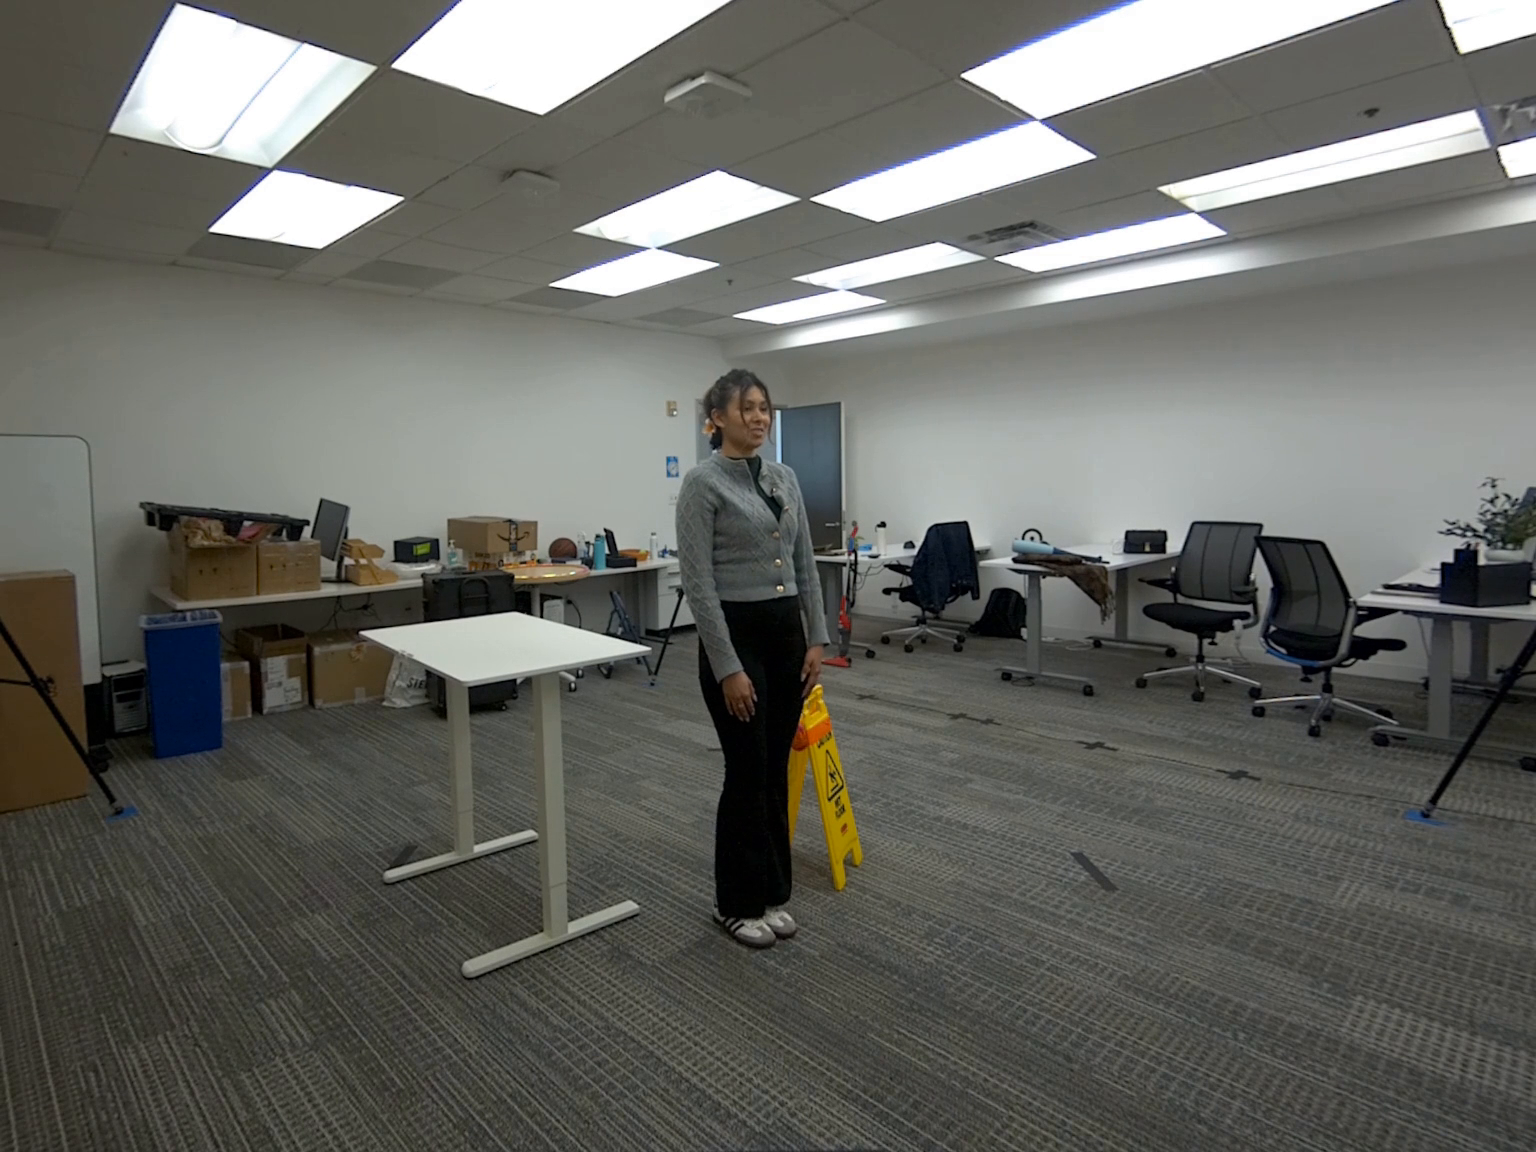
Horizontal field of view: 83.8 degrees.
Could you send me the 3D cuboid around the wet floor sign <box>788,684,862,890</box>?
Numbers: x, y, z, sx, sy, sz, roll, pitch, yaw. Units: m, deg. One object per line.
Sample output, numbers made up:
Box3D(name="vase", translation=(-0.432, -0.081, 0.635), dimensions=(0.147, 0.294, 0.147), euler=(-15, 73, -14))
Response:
Box3D(name="wet floor sign", translation=(0.160, 0.722, 3.045), dimensions=(0.296, 0.643, 0.277), euler=(2, 6, 25))
